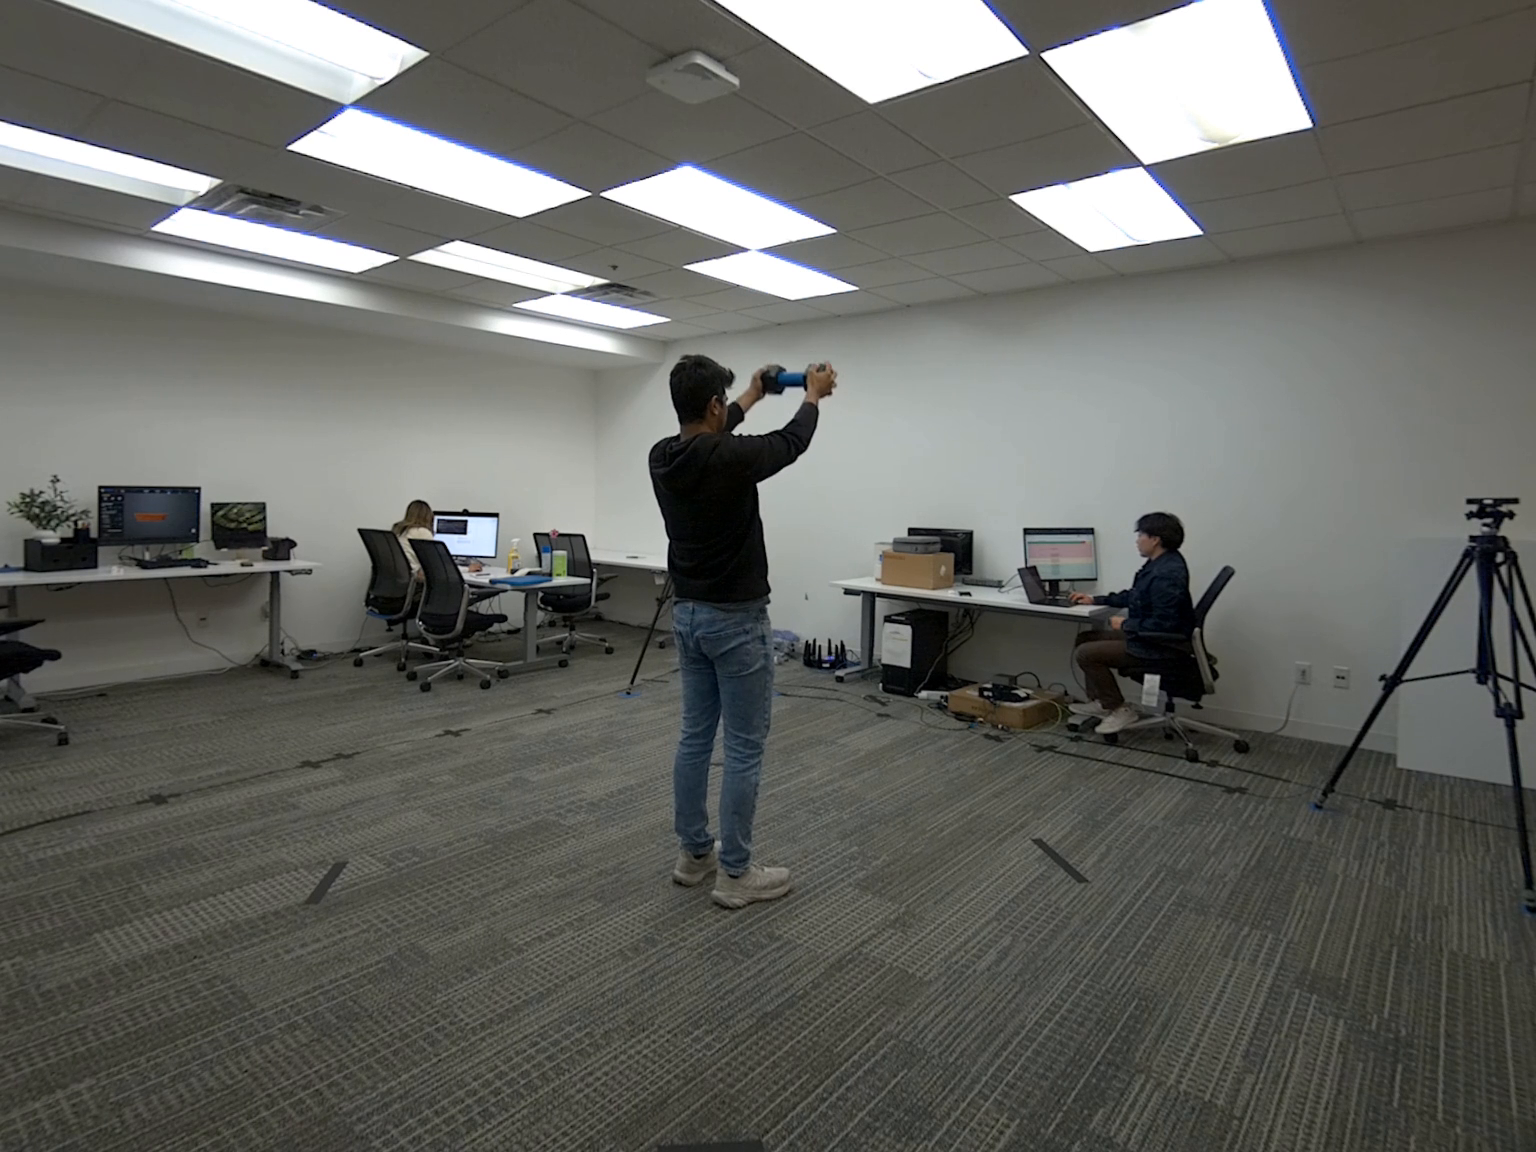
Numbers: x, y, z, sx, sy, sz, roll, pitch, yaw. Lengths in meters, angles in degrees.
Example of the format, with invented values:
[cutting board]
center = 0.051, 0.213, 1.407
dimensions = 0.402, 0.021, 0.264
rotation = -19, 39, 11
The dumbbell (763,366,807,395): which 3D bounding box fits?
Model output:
[dumbbell]
center = 0.089, -0.730, 3.238
dimensions = 0.304, 0.120, 0.107
rotation = 11, 27, 42
